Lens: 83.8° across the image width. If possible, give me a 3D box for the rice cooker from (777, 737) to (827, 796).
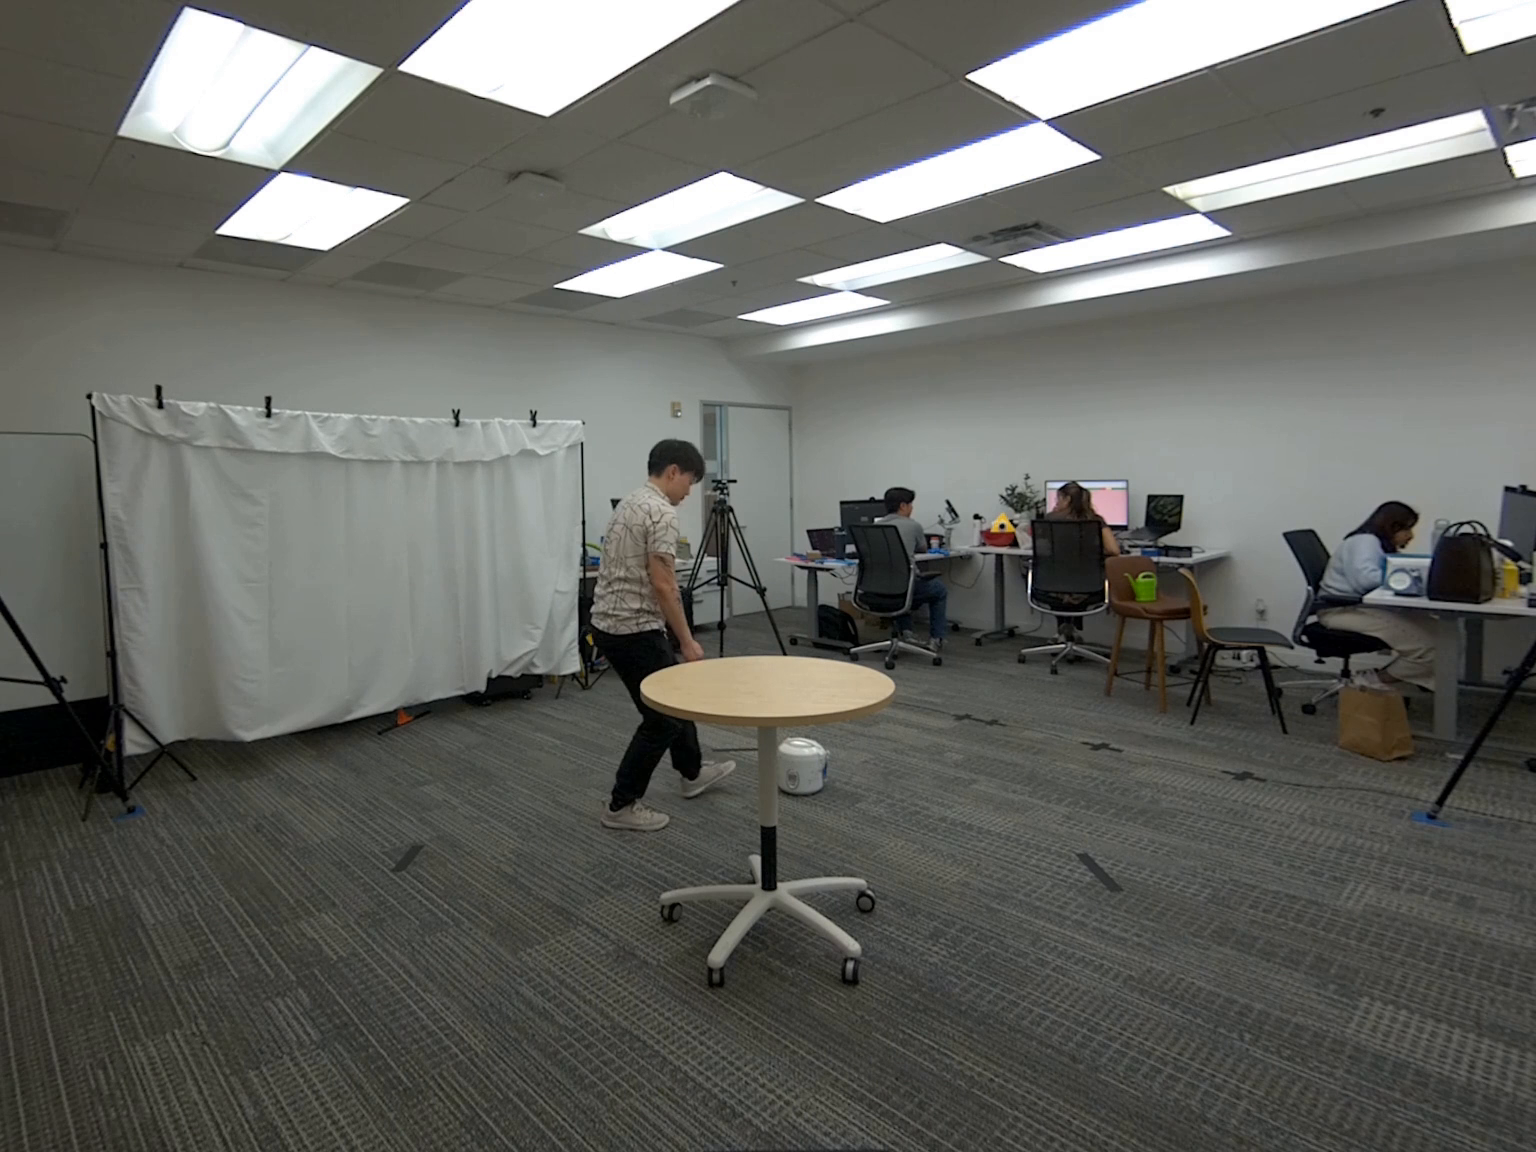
[{"bbox_3d":[0.146,0.840,3.838,0.225,0.232,0.213,2,4,24],"label":"rice cooker"}]
